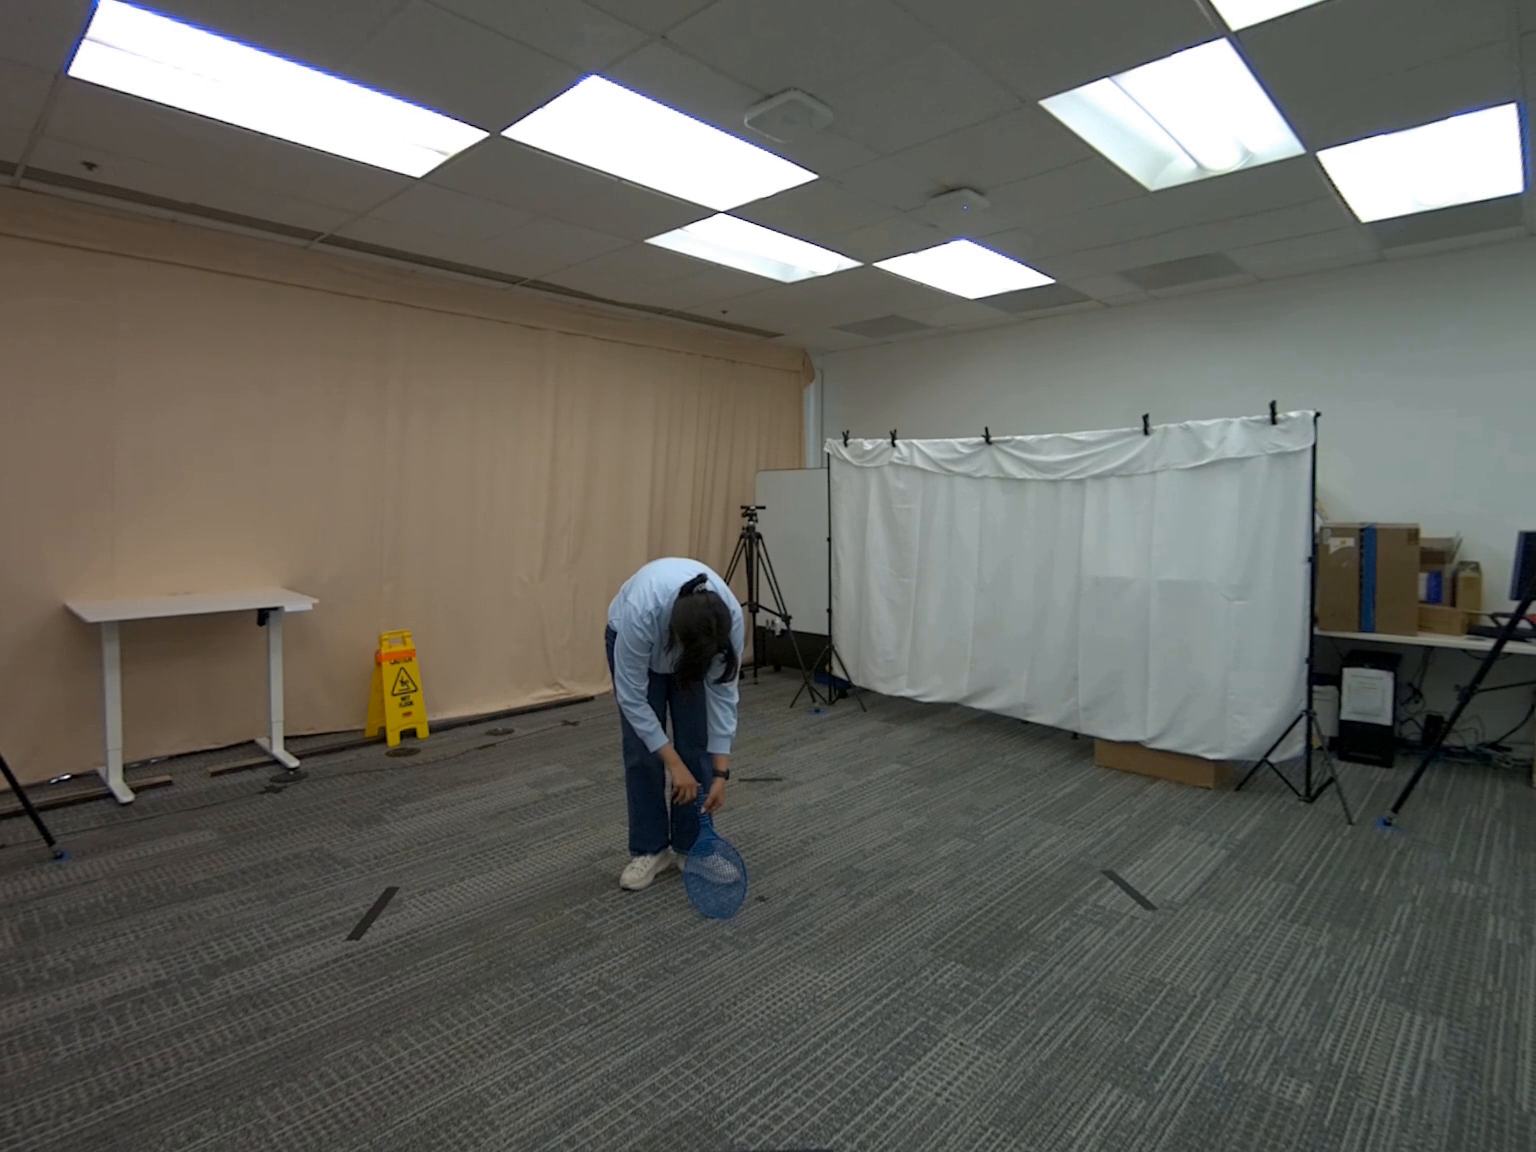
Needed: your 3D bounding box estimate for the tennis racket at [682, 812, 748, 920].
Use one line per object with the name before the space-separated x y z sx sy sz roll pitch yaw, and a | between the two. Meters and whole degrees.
tennis racket | -0.189 0.957 2.886 0.214 0.435 0.031 -9 -5 2
